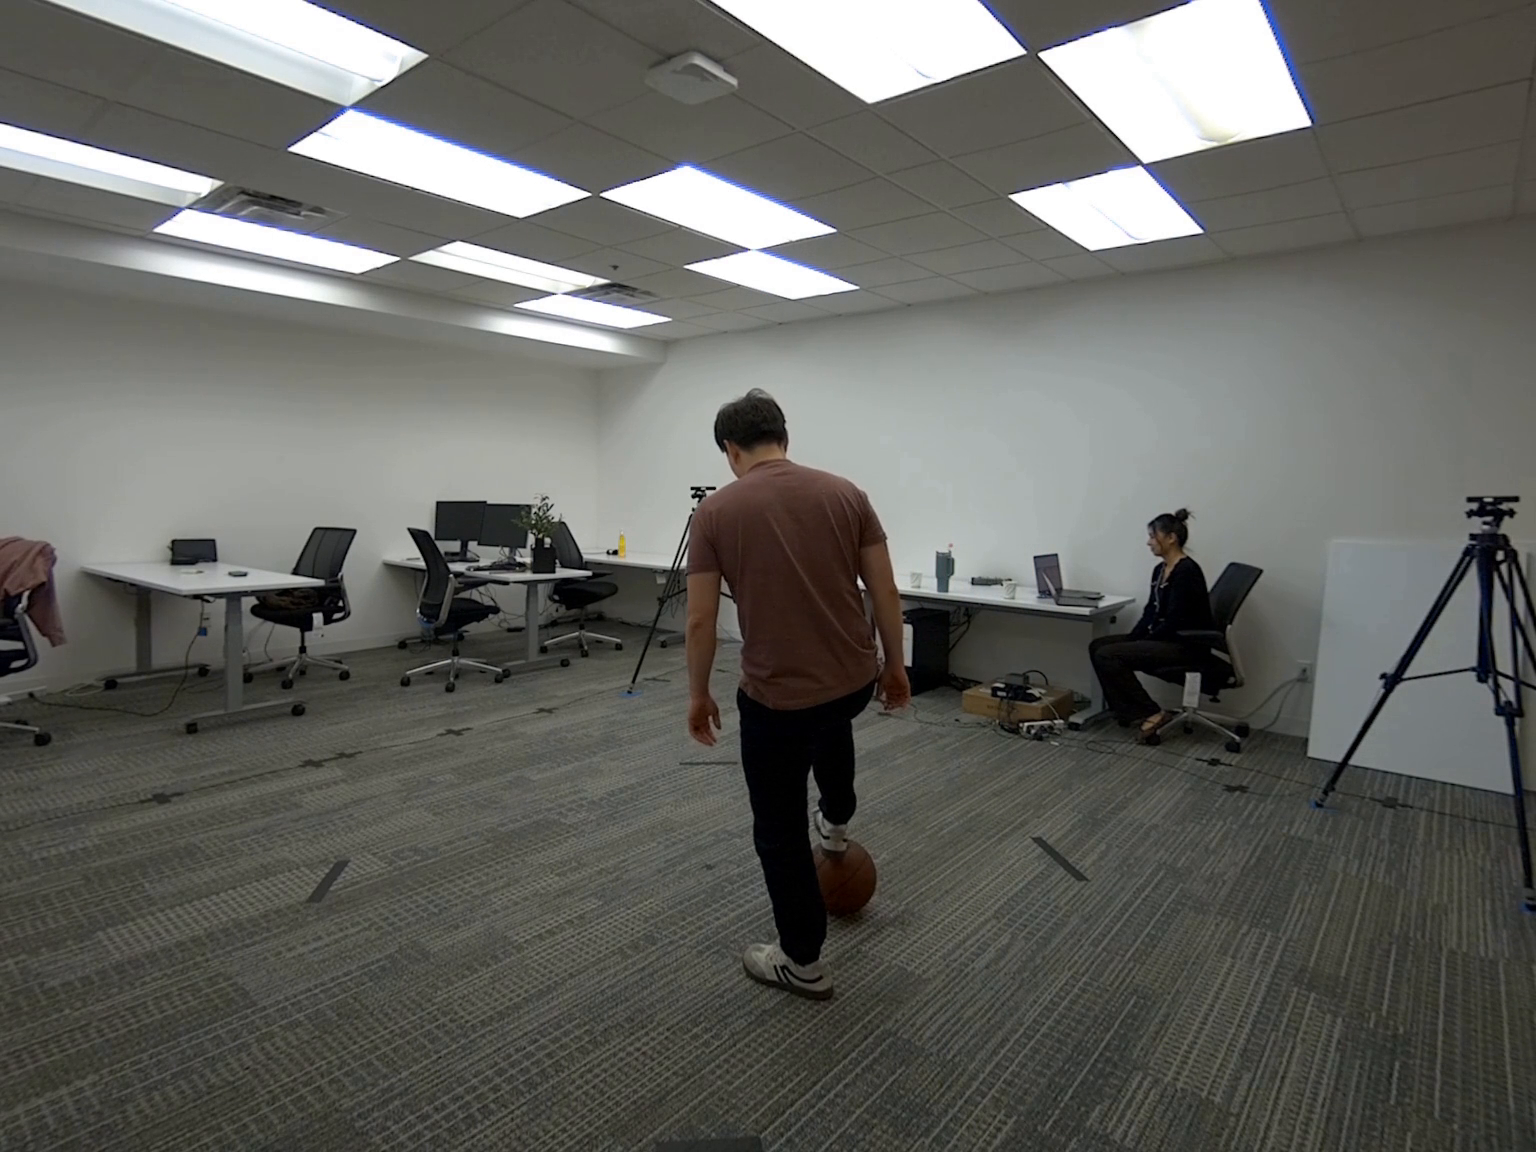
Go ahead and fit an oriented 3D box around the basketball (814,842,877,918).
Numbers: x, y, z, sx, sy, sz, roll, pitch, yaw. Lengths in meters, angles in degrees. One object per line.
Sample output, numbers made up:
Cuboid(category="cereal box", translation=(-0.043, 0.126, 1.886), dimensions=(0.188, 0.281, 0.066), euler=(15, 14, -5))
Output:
Cuboid(category="basketball", translation=(0.236, 0.987, 2.811), dimensions=(0.235, 0.235, 0.237), euler=(1, 4, -2))
